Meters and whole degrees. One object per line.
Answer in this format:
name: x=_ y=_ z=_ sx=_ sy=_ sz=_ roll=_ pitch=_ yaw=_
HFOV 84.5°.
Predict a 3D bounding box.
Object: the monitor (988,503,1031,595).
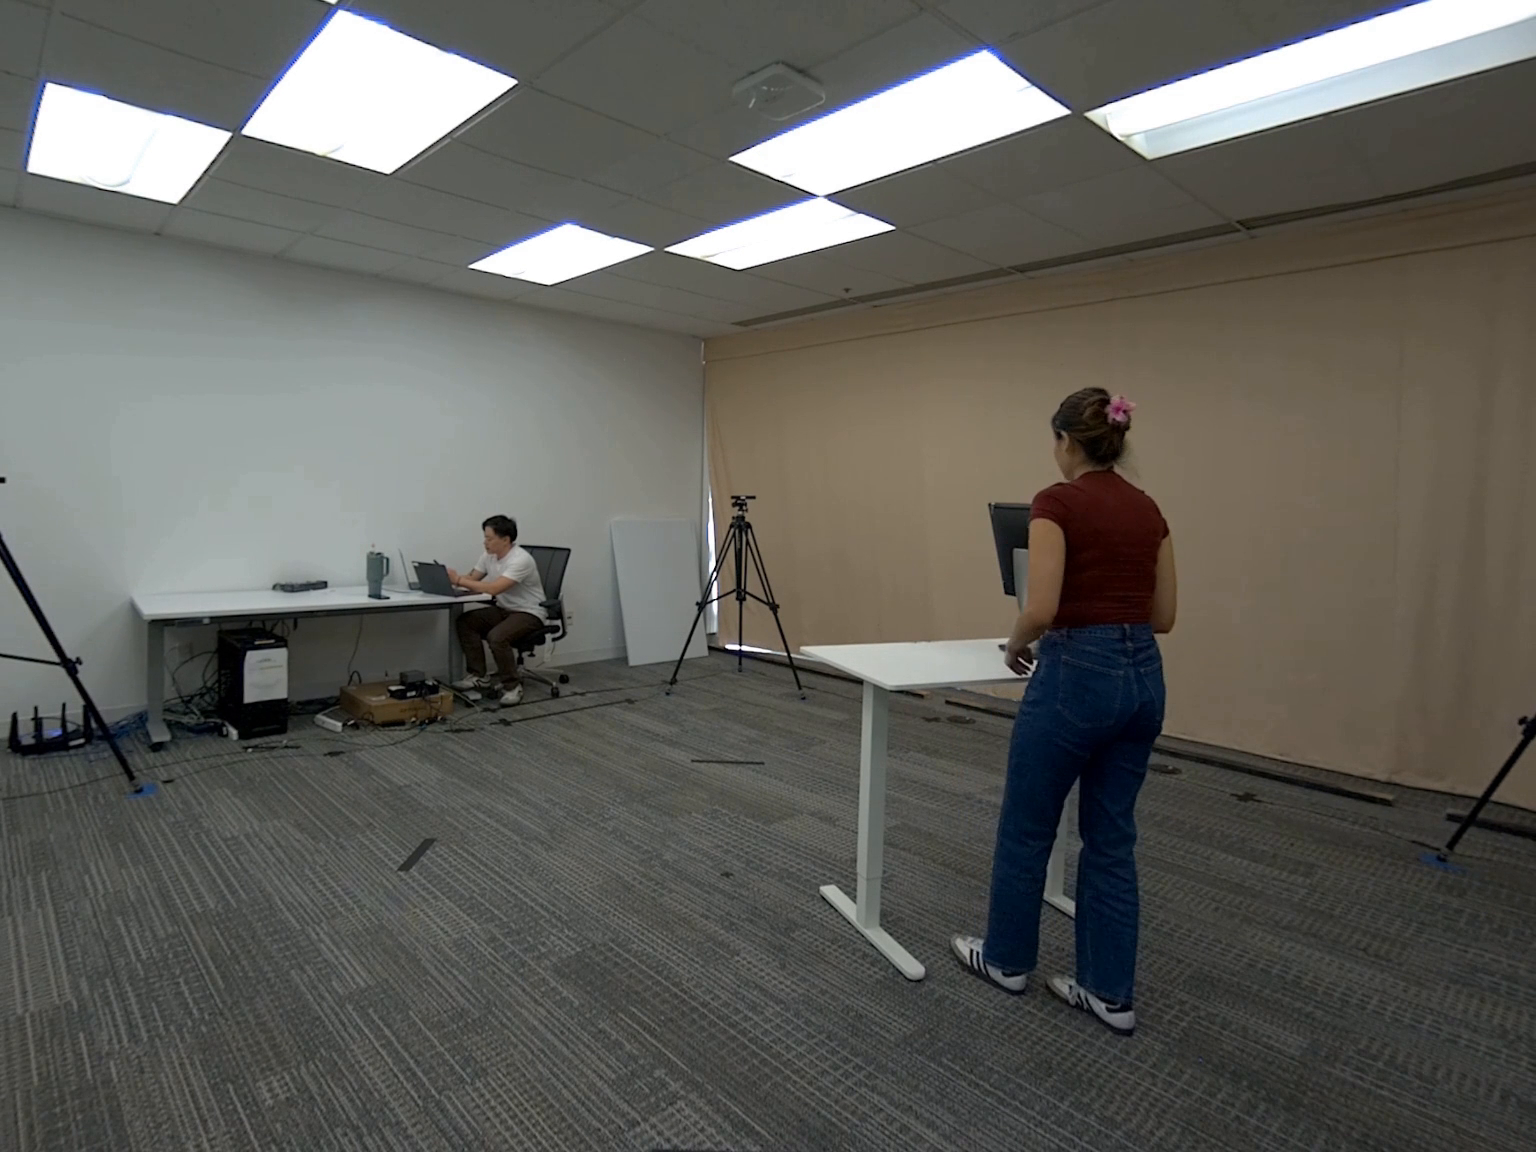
monitor: x=0.920 y=0.020 z=2.852 sx=0.184 sy=0.521 sz=0.549 roll=-3 pitch=6 yaw=-22
